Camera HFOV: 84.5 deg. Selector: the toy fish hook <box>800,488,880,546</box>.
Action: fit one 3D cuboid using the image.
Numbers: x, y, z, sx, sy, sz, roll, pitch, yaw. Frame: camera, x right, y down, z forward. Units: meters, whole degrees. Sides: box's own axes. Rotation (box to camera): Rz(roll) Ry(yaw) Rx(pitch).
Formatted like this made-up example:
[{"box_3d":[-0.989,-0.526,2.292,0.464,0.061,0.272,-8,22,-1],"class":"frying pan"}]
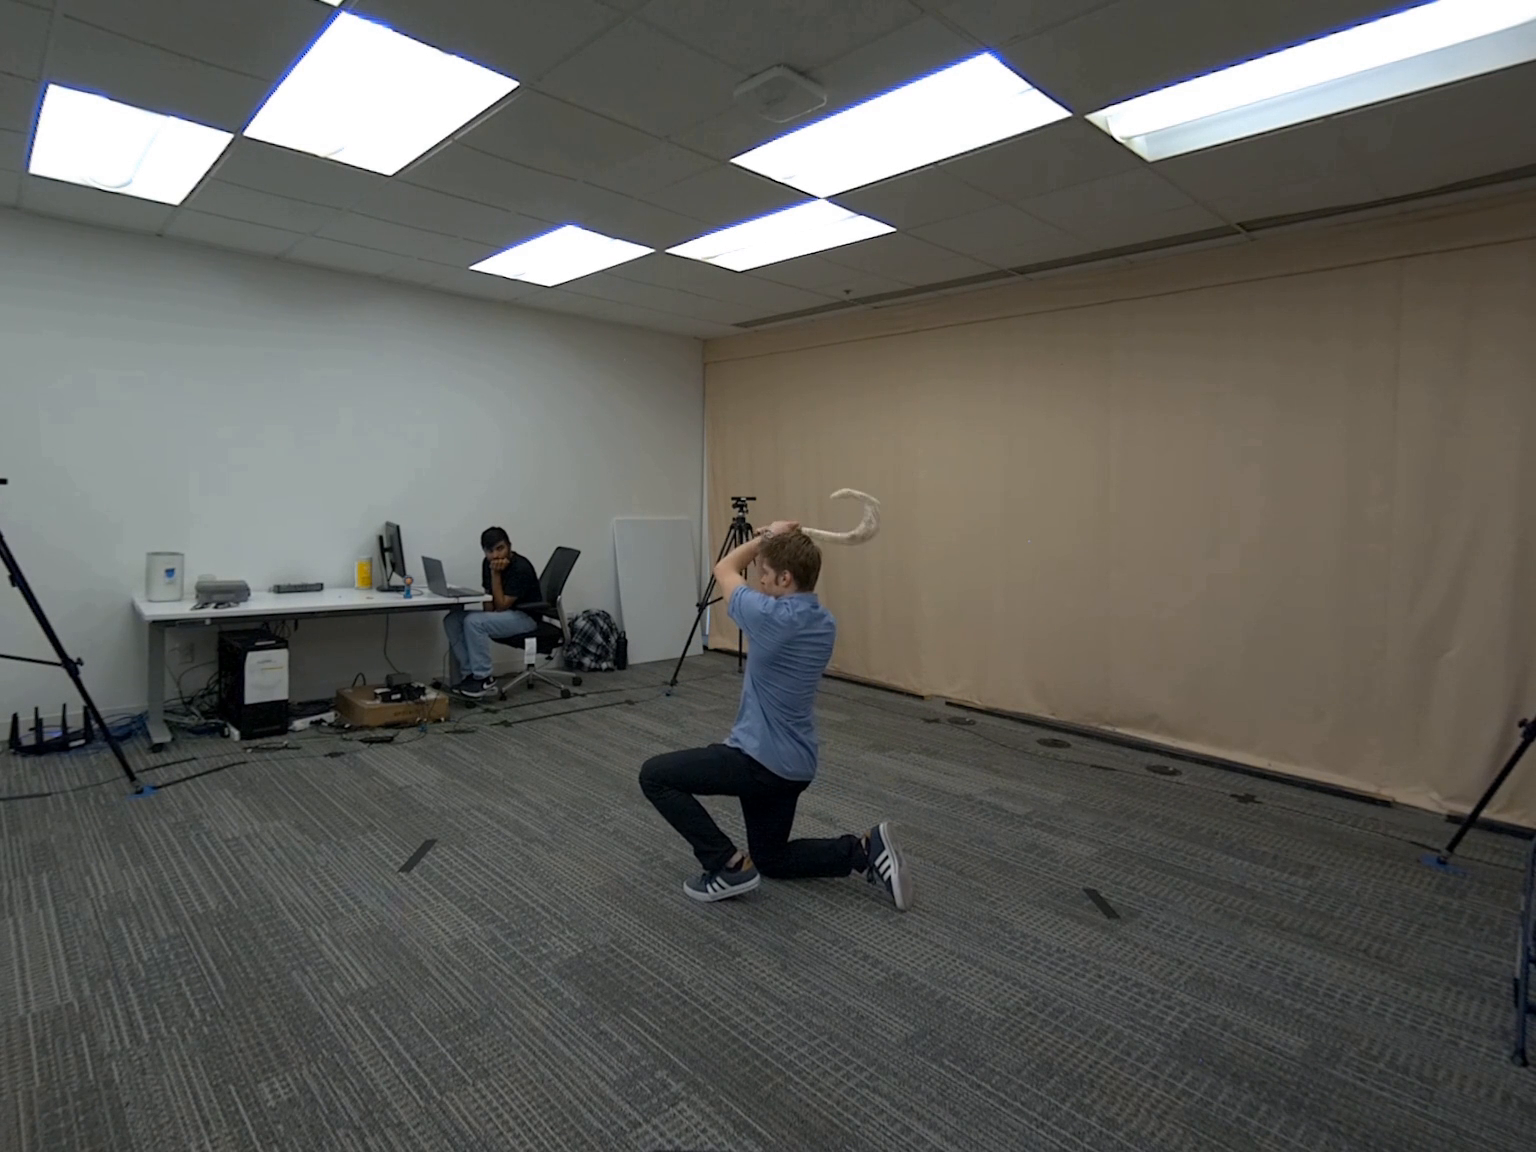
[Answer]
[{"box_3d":[0.160,-0.212,3.288,0.514,0.227,0.047,-2,-18,19],"class":"toy fish hook"}]
